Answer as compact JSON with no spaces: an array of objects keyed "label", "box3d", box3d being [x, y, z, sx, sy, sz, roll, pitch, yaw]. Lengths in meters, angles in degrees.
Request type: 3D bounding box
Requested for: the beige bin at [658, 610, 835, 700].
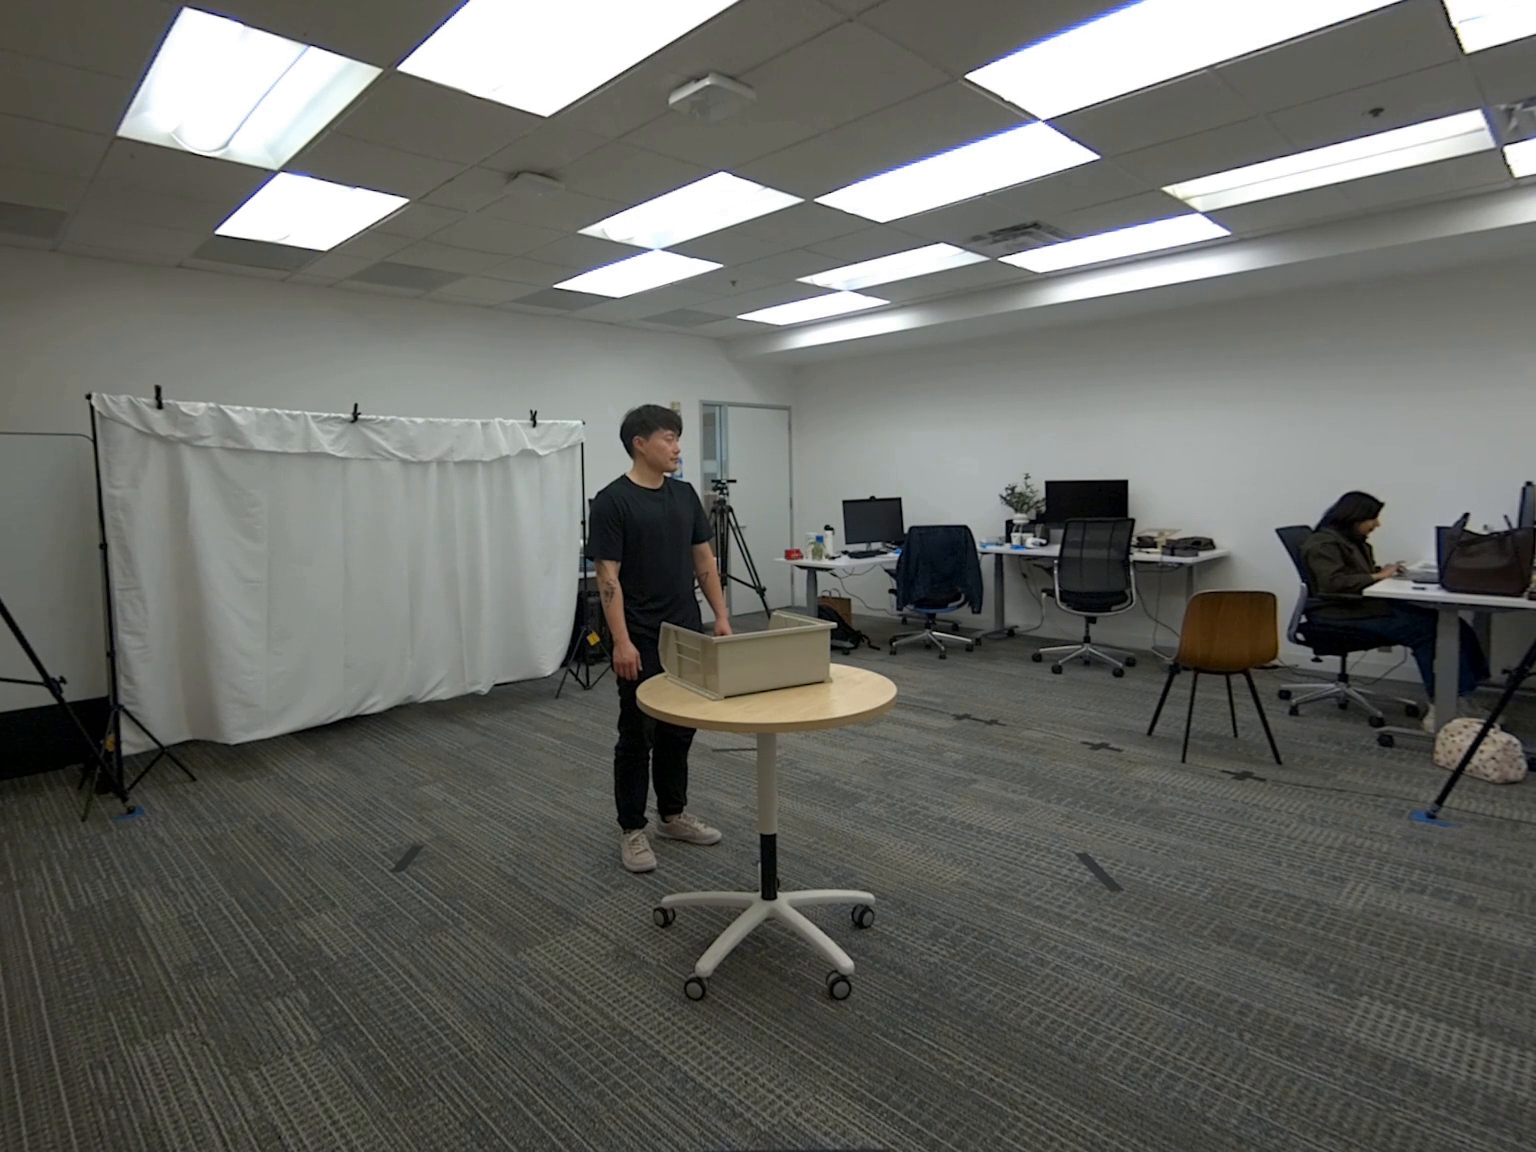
[{"label":"beige bin","box3d":[-0.068,0.232,2.626,0.412,0.188,0.388,-4,7,-30]}]
